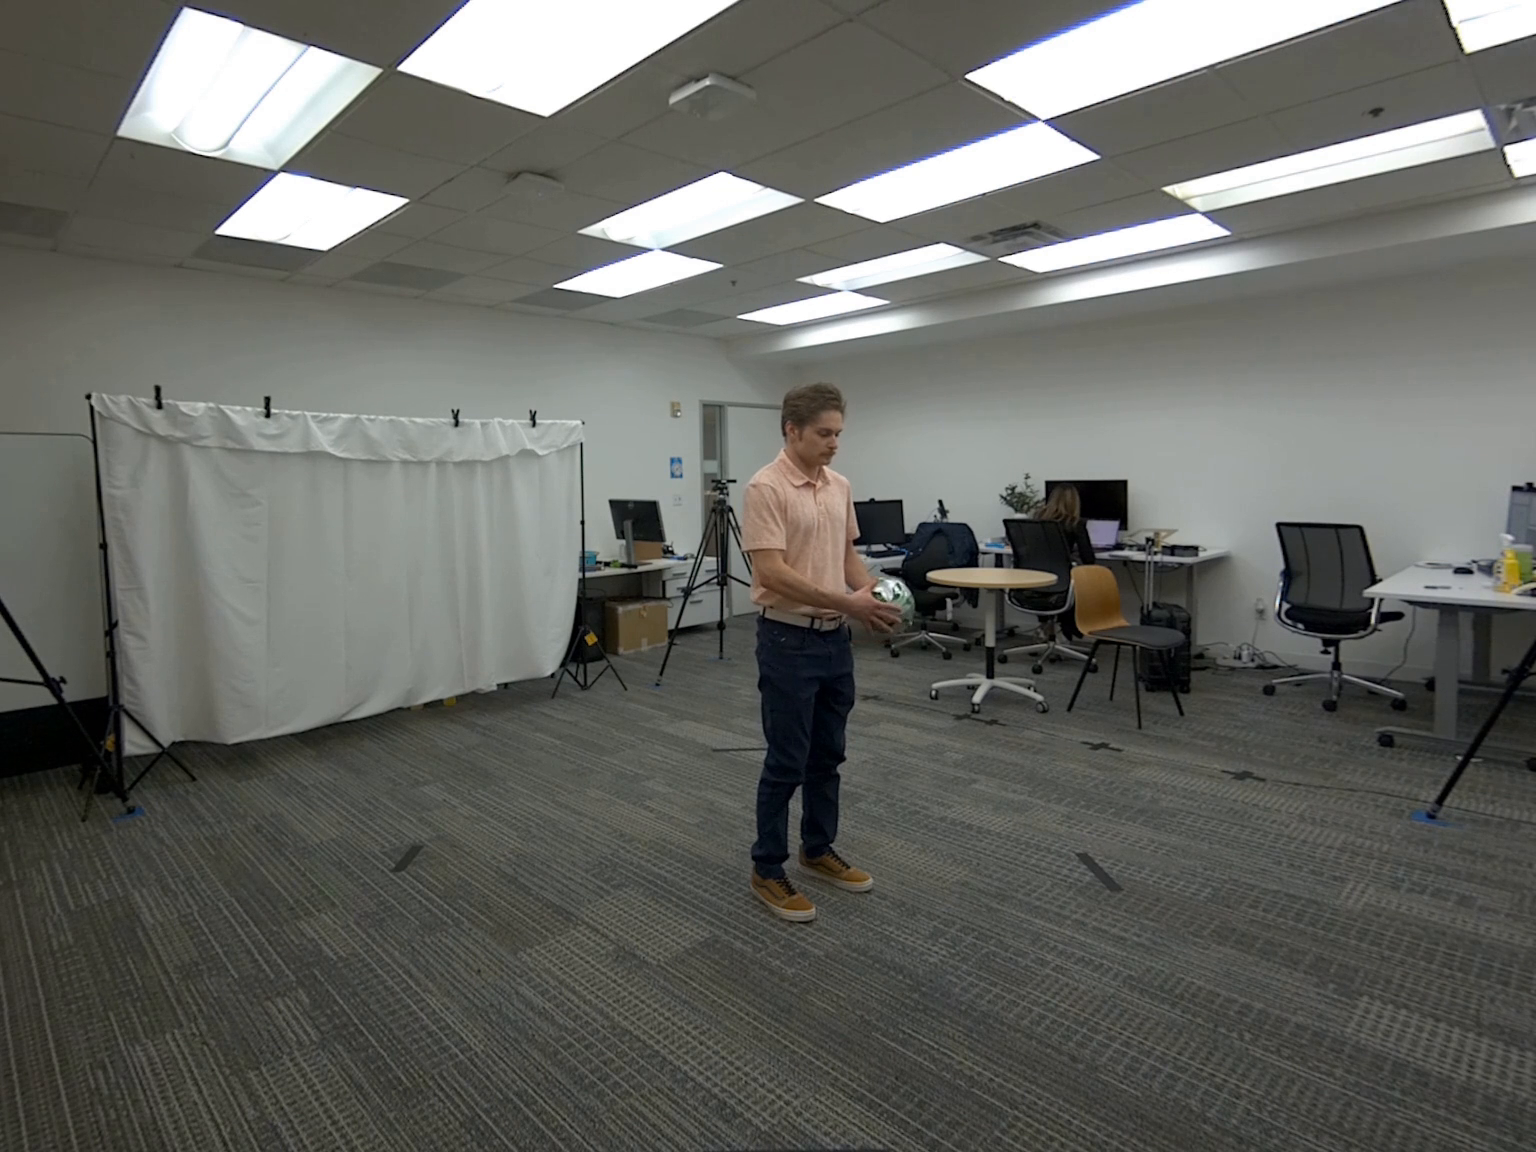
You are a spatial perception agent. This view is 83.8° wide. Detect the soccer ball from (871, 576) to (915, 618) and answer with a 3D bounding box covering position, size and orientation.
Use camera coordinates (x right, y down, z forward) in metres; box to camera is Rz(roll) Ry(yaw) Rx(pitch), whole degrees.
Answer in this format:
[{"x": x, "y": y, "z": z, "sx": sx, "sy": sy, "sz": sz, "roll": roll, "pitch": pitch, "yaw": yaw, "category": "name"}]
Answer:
[{"x": 0.375, "y": 0.109, "z": 2.785, "sx": 0.187, "sy": 0.187, "sz": 0.188, "roll": -1, "pitch": 5, "yaw": -2, "category": "soccer ball"}]
